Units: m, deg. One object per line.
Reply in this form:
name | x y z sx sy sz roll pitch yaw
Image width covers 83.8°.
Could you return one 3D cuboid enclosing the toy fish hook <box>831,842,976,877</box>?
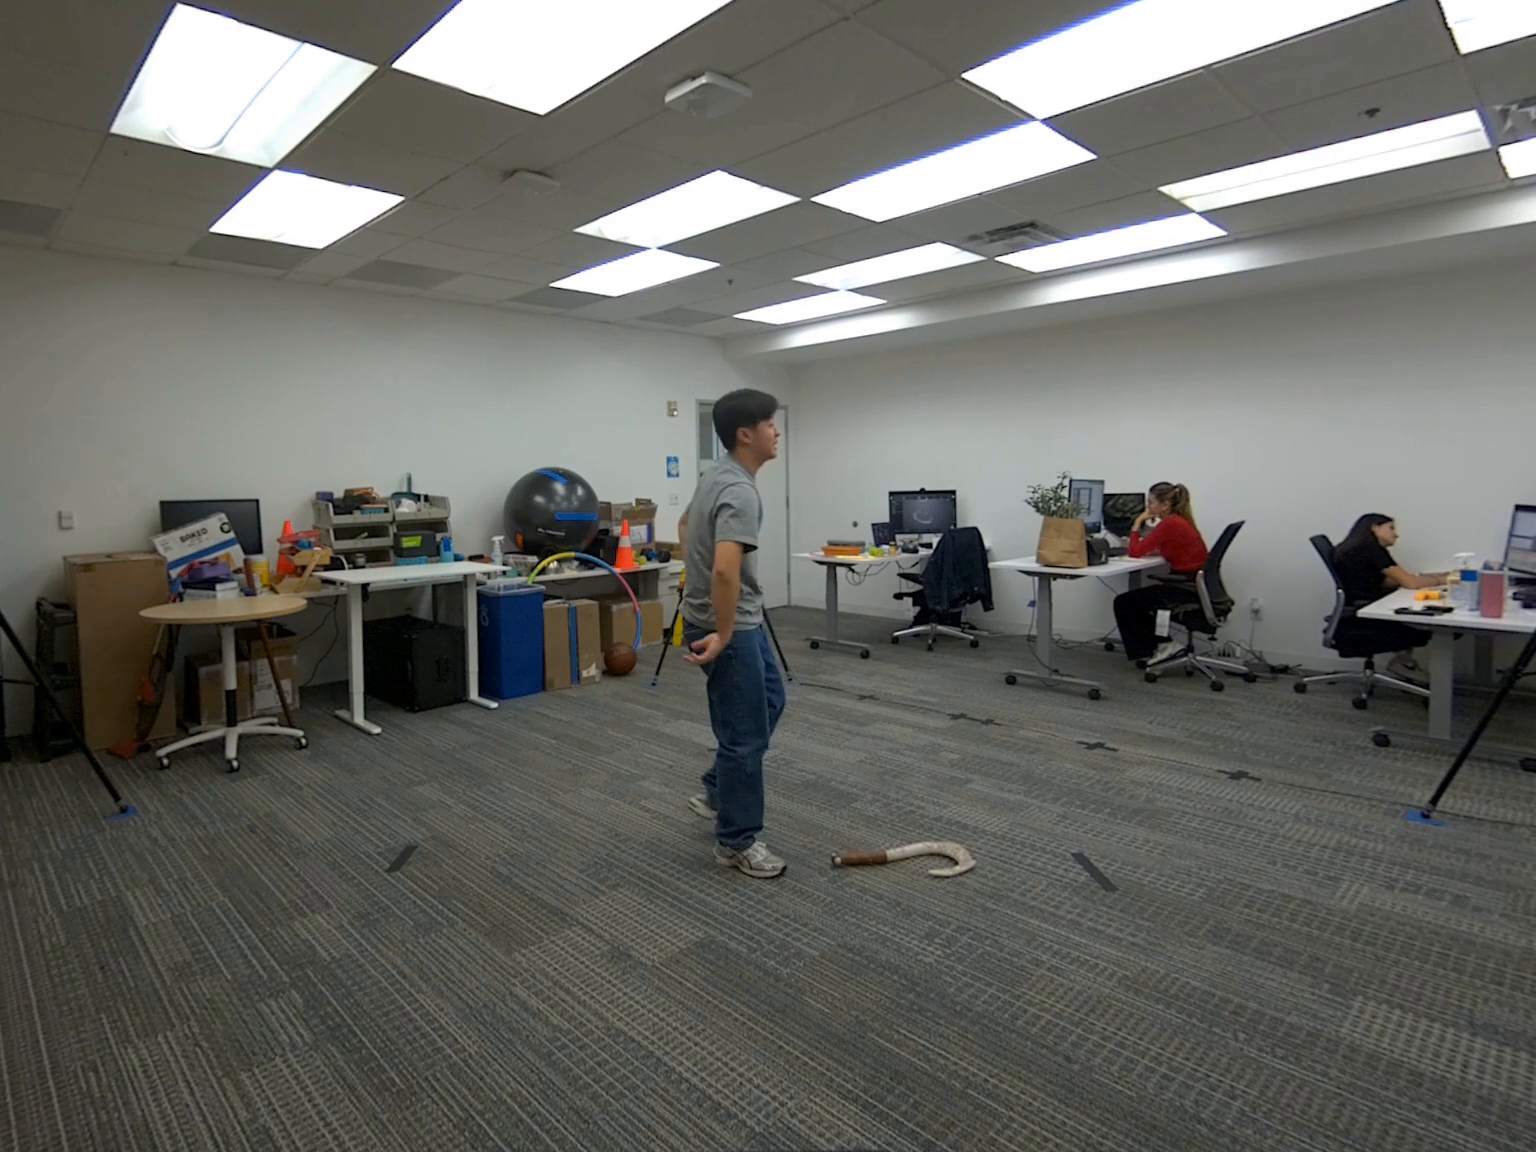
toy fish hook | 0.486 1.013 3.054 0.502 0.048 0.227 -2 5 -9
